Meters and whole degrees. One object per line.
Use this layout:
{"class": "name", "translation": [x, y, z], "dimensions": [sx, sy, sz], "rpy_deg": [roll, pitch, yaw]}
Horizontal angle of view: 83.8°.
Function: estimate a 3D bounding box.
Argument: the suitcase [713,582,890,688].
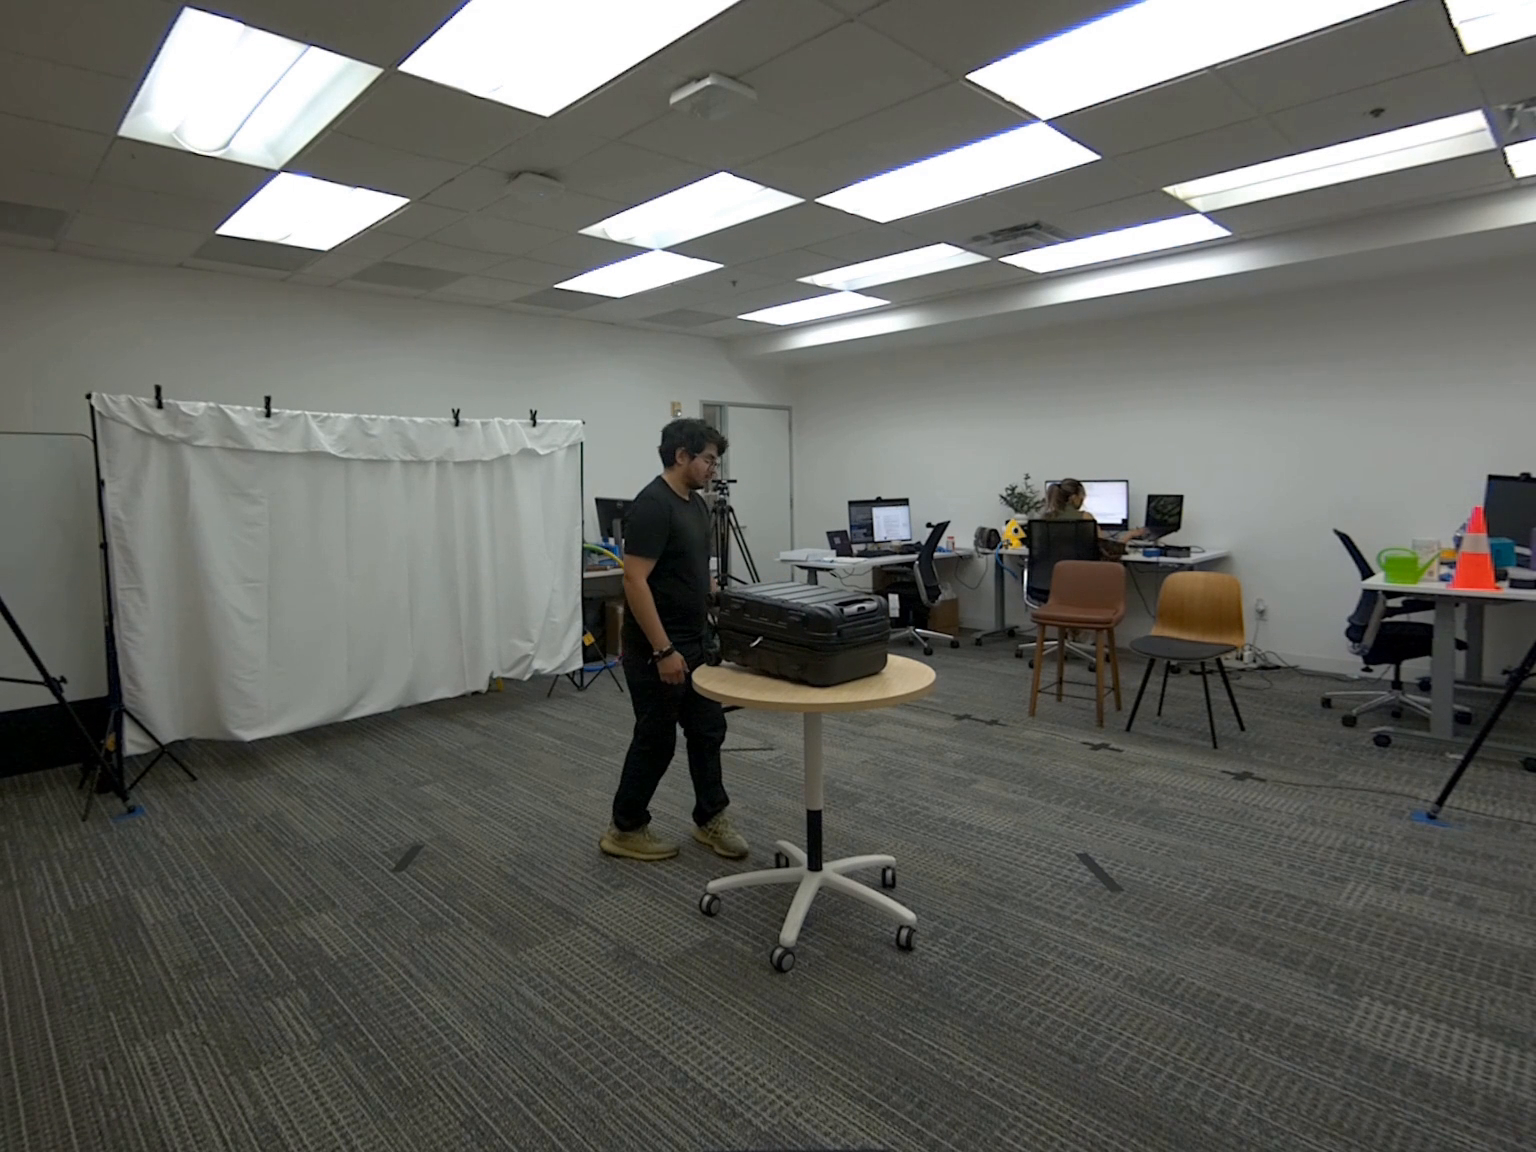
{"class": "suitcase", "translation": [0.100, 0.177, 2.756], "dimensions": [0.365, 0.247, 0.567], "rpy_deg": [-6, 9, -43]}
